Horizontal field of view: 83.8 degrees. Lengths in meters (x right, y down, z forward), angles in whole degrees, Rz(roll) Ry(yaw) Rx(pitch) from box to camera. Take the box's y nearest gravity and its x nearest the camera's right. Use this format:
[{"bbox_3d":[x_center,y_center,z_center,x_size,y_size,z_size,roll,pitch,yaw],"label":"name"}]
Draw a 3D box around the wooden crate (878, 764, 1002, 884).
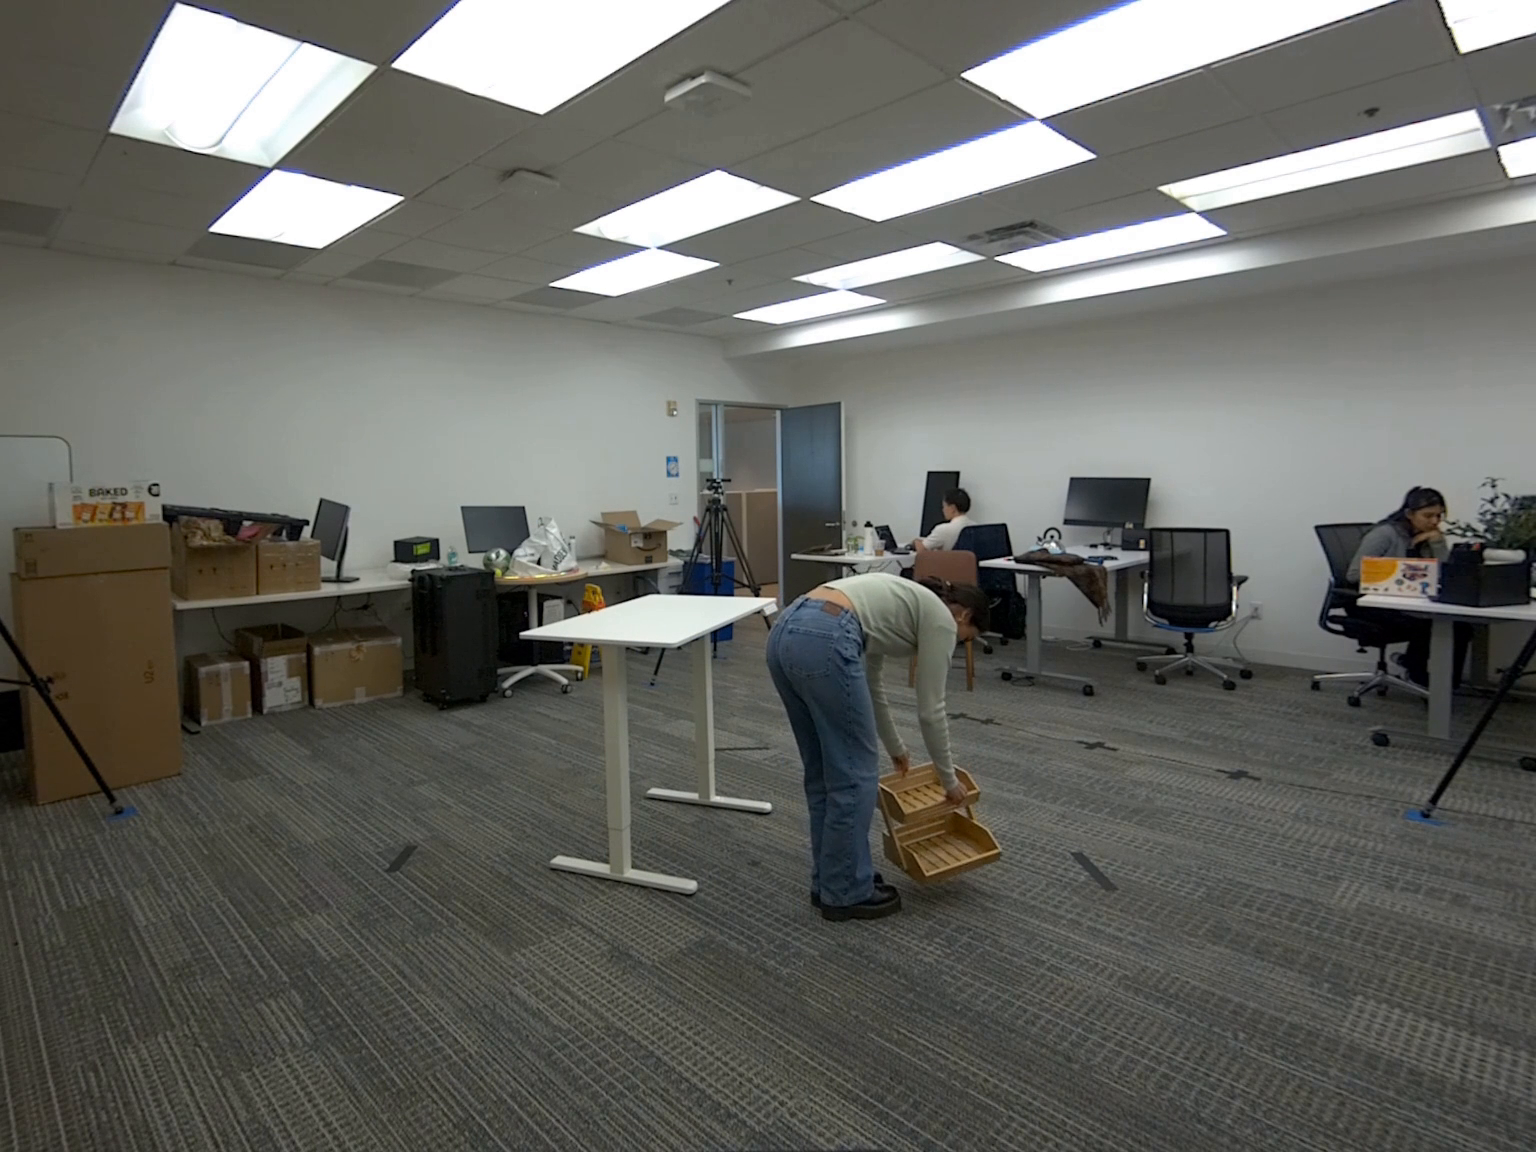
[{"bbox_3d":[0.567,0.817,2.874,0.319,0.272,0.309,-10,7,-22],"label":"wooden crate"}]
